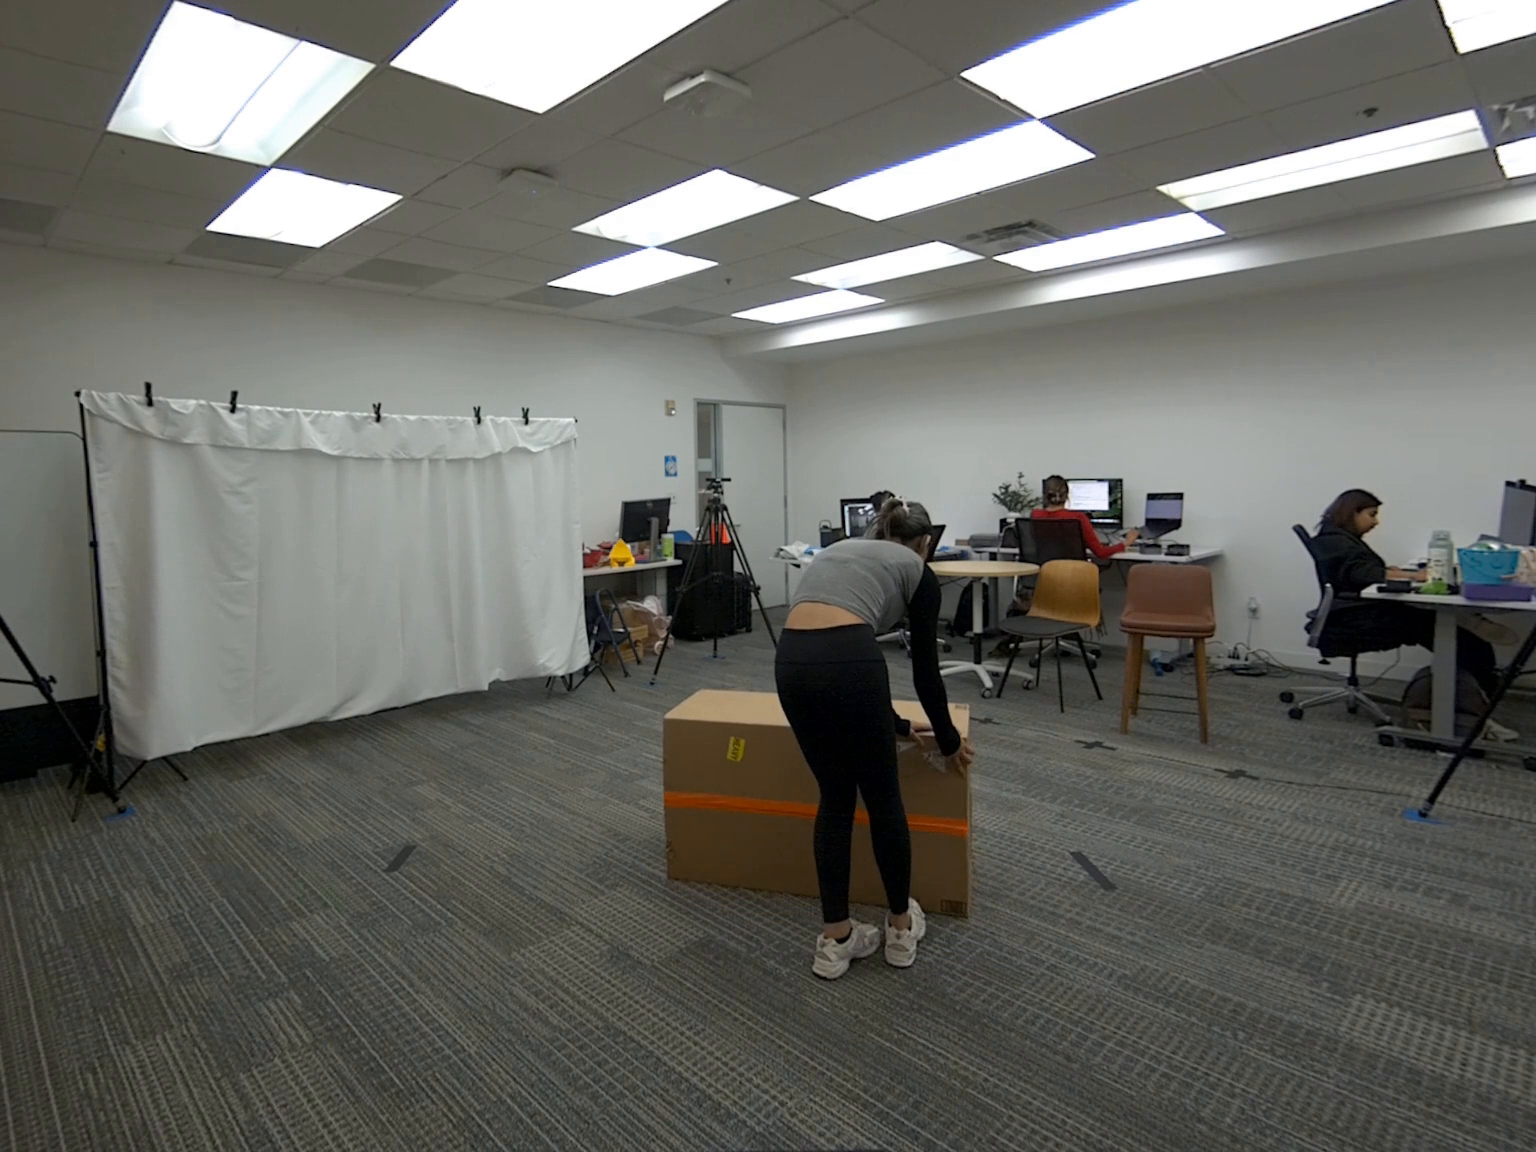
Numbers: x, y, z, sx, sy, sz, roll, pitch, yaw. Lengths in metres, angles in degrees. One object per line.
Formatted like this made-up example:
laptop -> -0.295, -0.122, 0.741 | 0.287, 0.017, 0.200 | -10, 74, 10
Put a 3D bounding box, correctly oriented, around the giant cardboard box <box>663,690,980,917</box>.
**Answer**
giant cardboard box -> 0.181, 0.757, 3.028 | 1.043, 0.581, 0.442 | 0, 5, 16
